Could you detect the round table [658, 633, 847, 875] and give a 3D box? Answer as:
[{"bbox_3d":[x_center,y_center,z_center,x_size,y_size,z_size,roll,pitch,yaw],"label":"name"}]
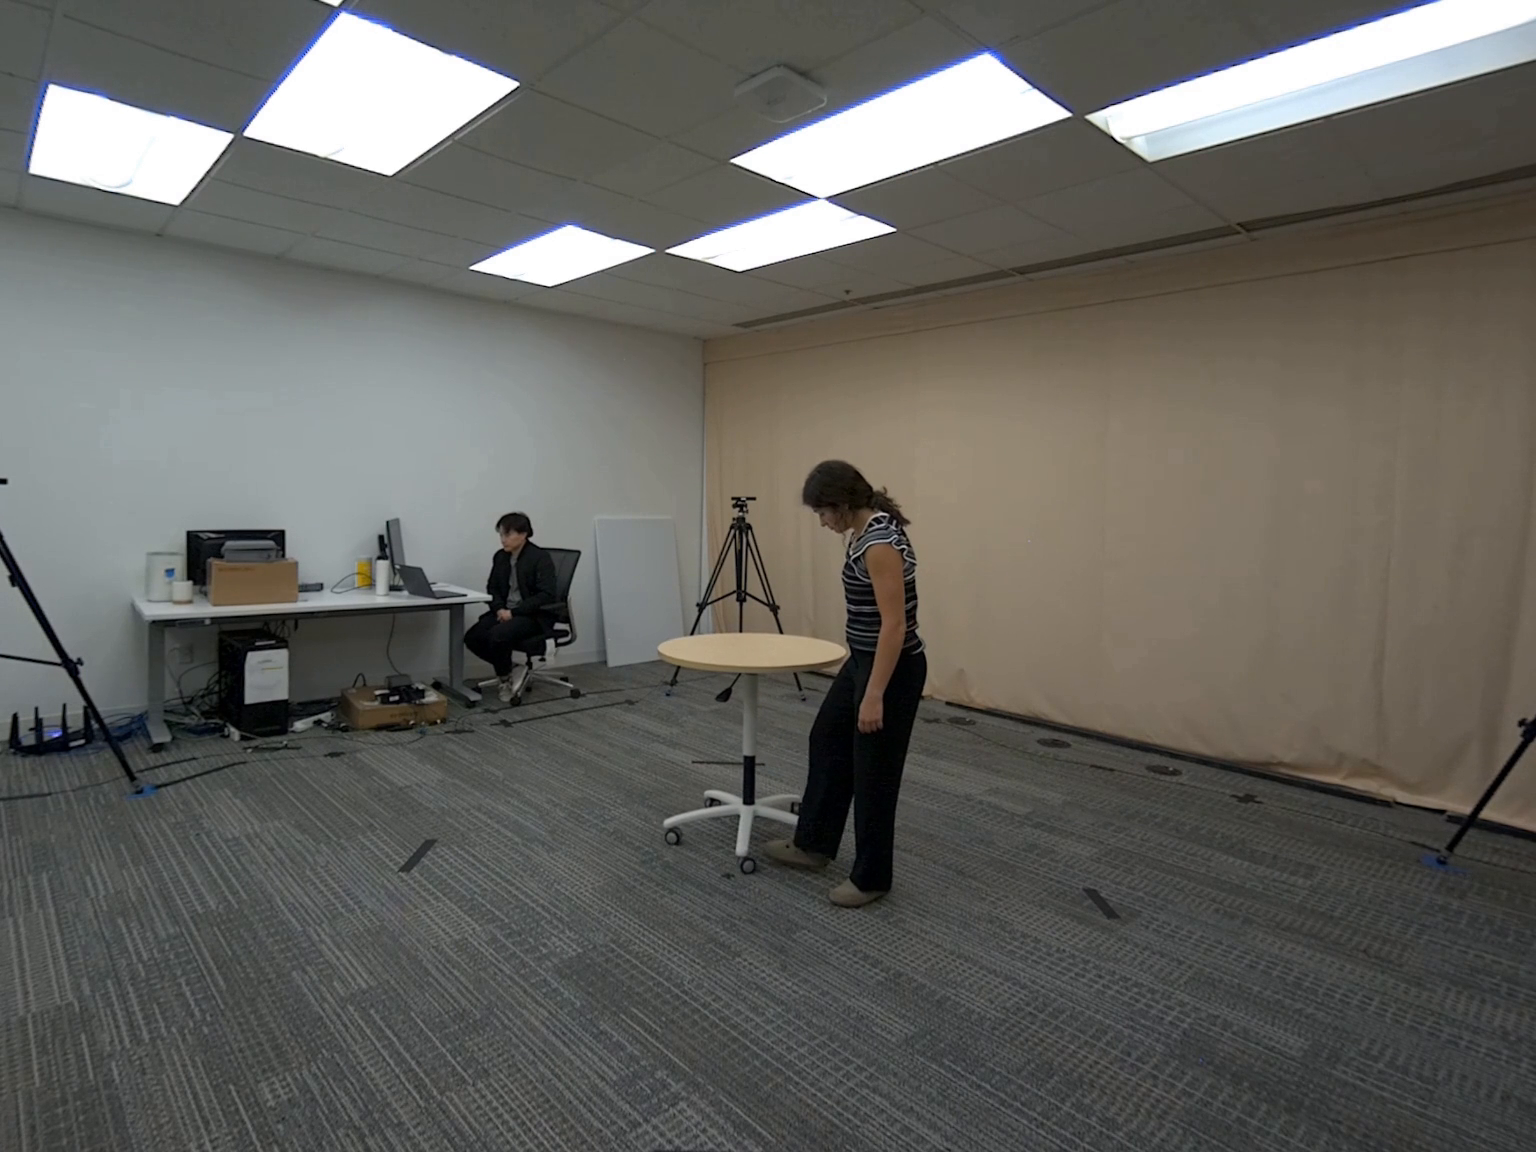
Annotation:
[{"bbox_3d":[-0.069,0.683,3.461,0.784,0.784,0.788,1,4,-1],"label":"round table"}]
